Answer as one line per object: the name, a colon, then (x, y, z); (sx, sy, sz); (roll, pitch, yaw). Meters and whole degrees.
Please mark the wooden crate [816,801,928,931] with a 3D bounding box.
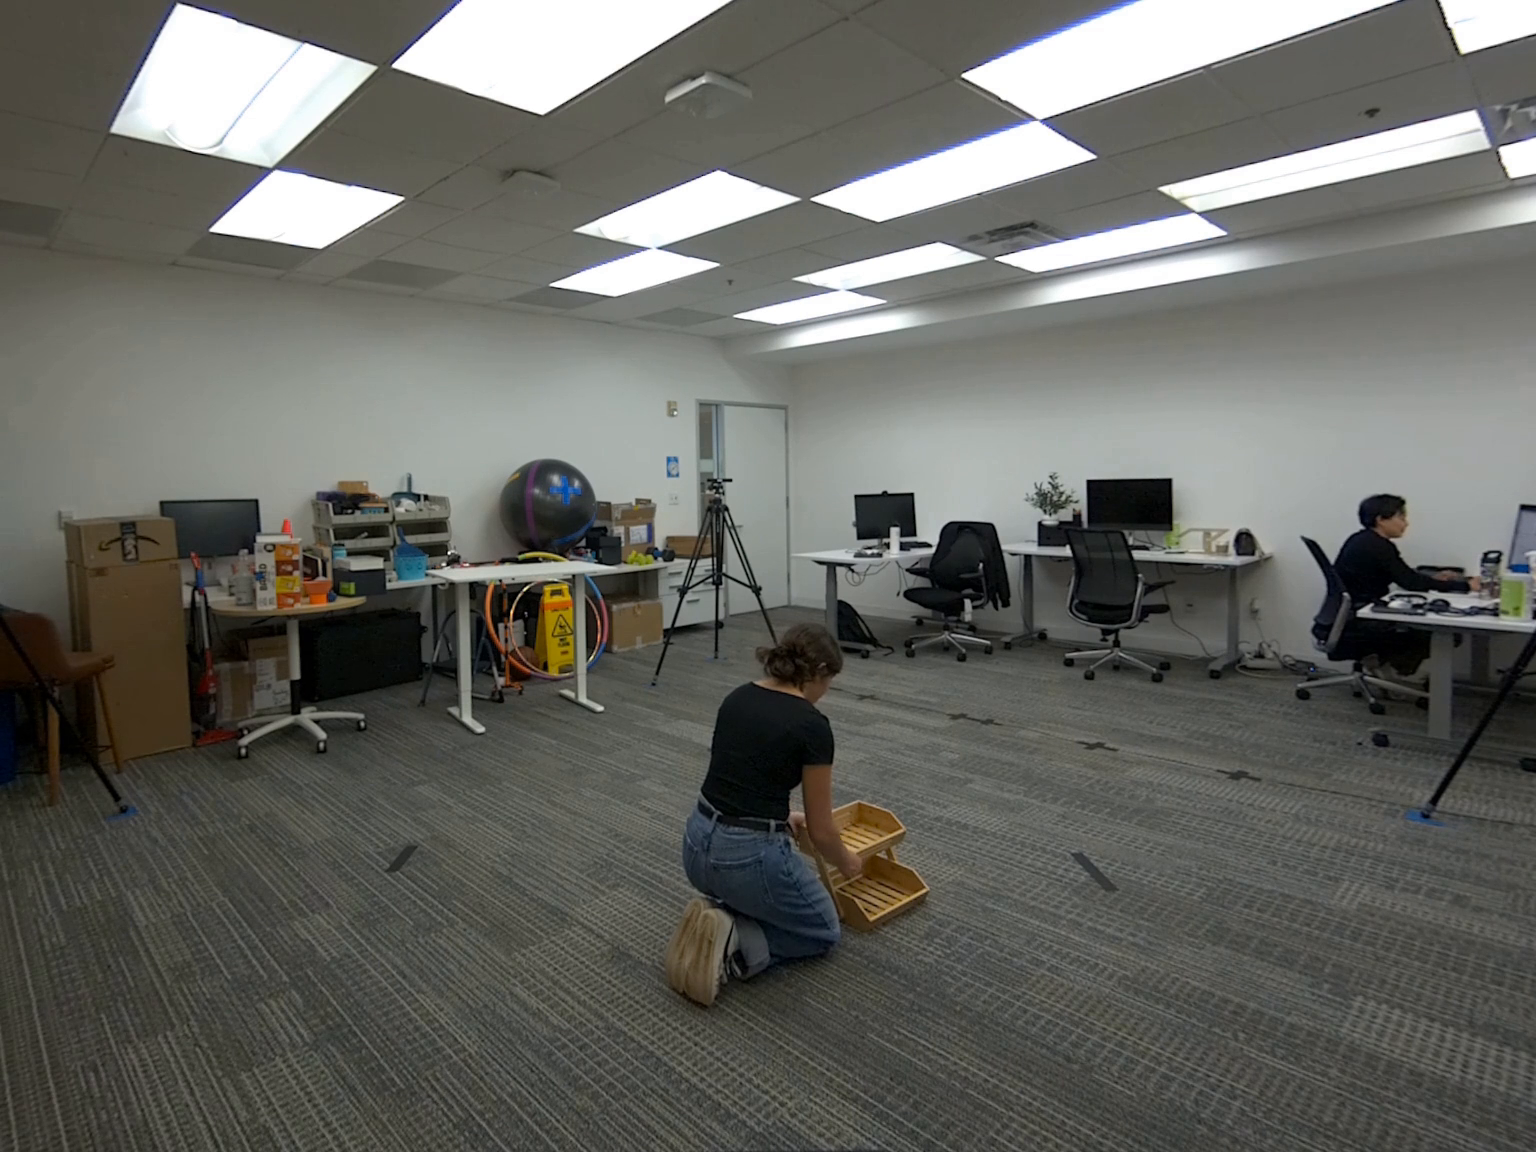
wooden crate: (0.321, 0.941, 2.804); (0.316, 0.272, 0.311); (-6, 7, -42)
